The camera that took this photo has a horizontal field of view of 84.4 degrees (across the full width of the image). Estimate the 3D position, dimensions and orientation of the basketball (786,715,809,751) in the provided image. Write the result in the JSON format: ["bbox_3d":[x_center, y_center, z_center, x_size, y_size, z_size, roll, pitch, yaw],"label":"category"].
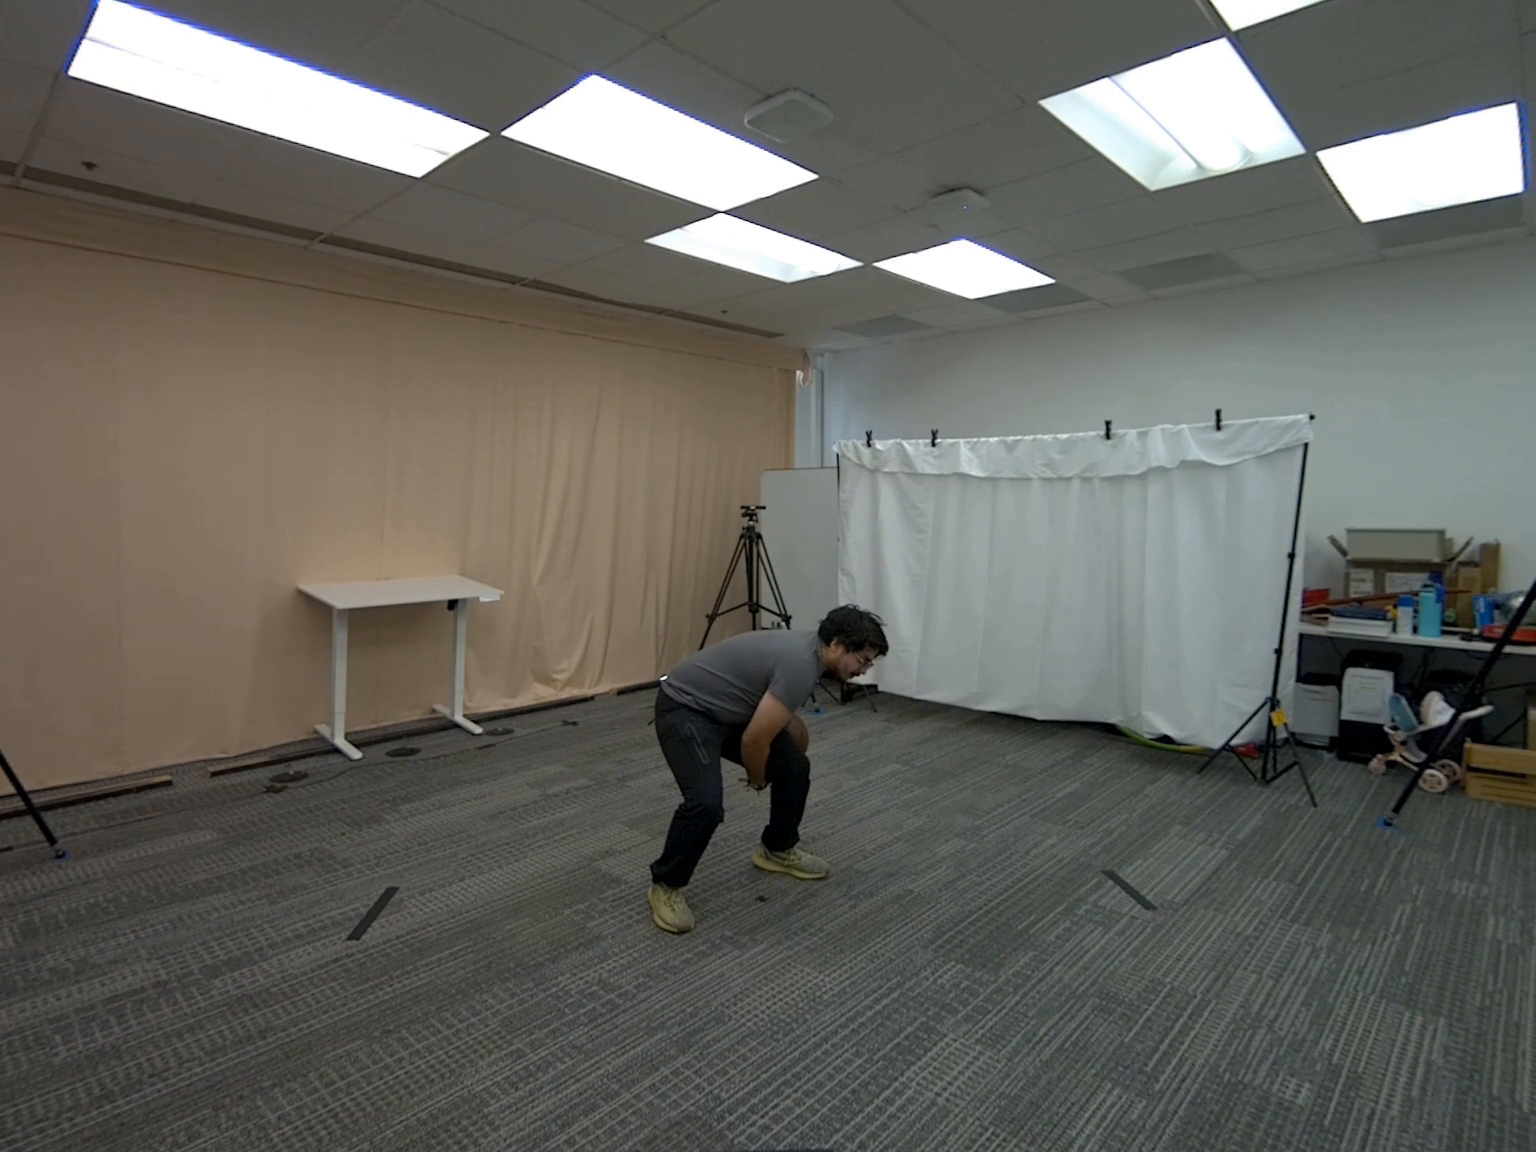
[{"bbox_3d":[0.054,0.635,3.289,0.236,0.235,0.237,0,4,-2],"label":"basketball"}]
